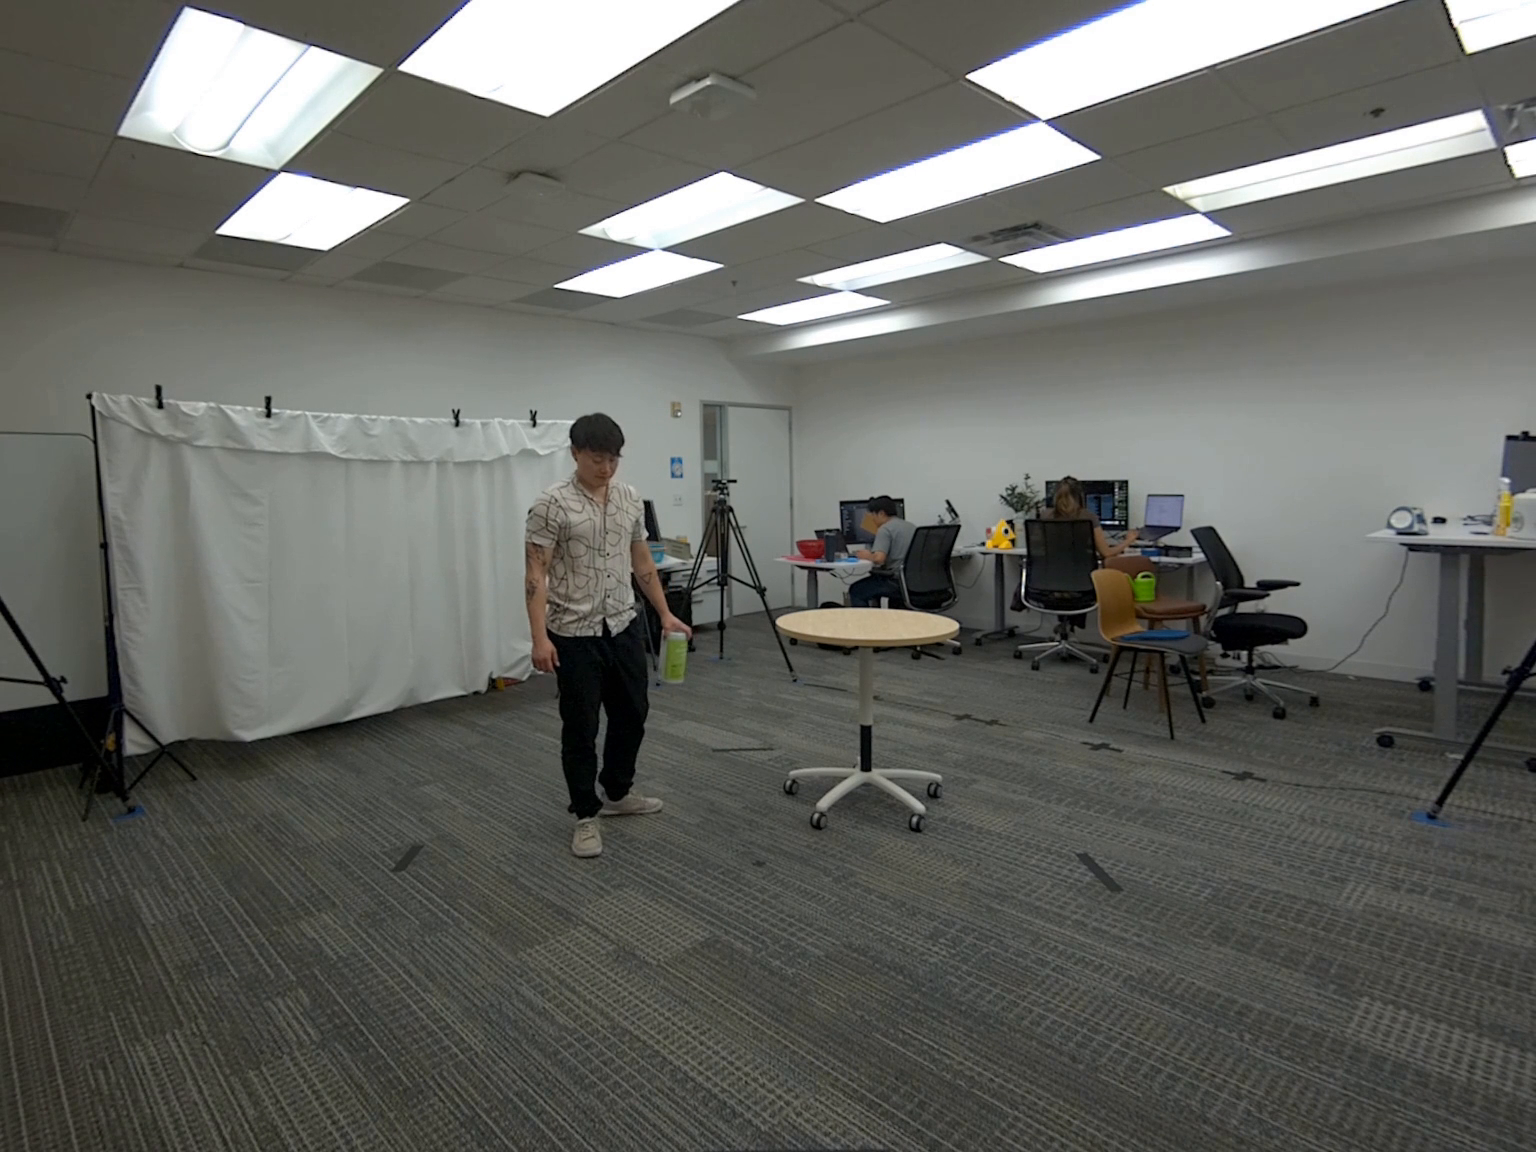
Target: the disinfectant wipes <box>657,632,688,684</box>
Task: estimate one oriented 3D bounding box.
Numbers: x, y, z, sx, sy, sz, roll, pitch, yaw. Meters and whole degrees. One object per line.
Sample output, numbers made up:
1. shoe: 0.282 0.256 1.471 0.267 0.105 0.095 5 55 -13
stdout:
1. disinfectant wipes: -0.400 0.331 3.546 0.117 0.216 0.119 4 7 -2
